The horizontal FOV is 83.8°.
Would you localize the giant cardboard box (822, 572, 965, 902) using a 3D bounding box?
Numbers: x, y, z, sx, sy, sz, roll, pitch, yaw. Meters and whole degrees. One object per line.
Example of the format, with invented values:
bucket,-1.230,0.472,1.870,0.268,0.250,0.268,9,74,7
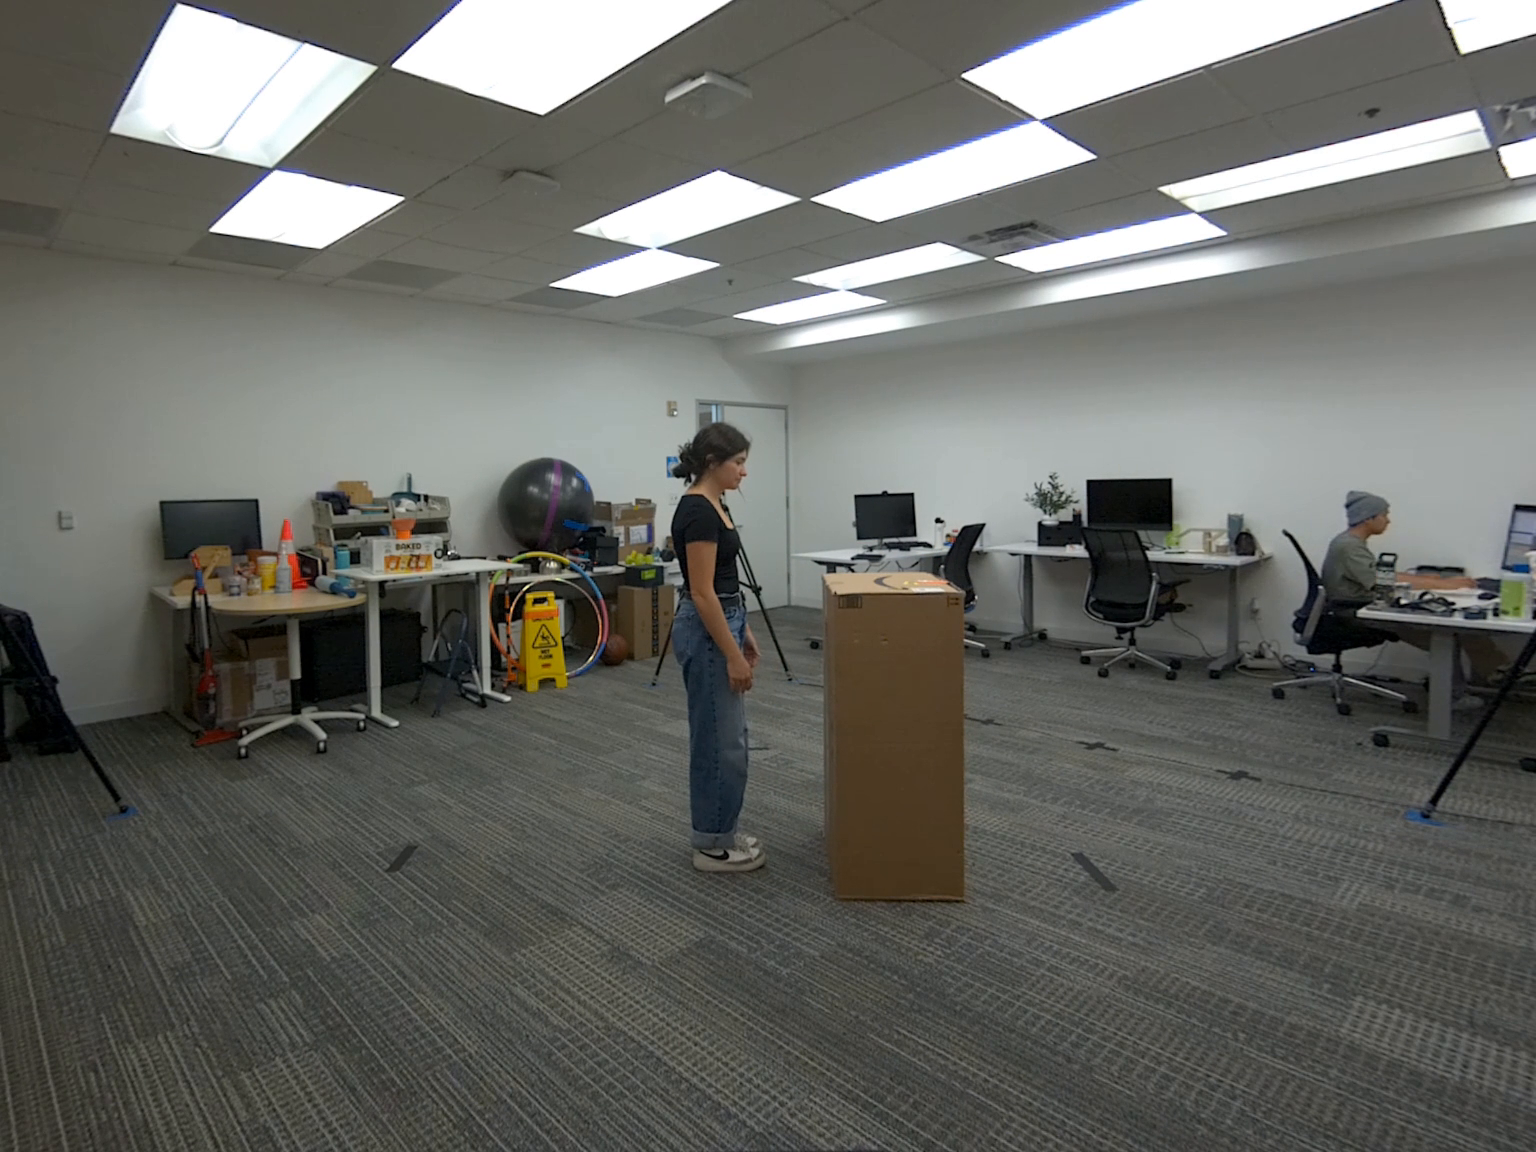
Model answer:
giant cardboard box,0.431,0.535,3.062,0.427,1.022,0.579,0,4,1
